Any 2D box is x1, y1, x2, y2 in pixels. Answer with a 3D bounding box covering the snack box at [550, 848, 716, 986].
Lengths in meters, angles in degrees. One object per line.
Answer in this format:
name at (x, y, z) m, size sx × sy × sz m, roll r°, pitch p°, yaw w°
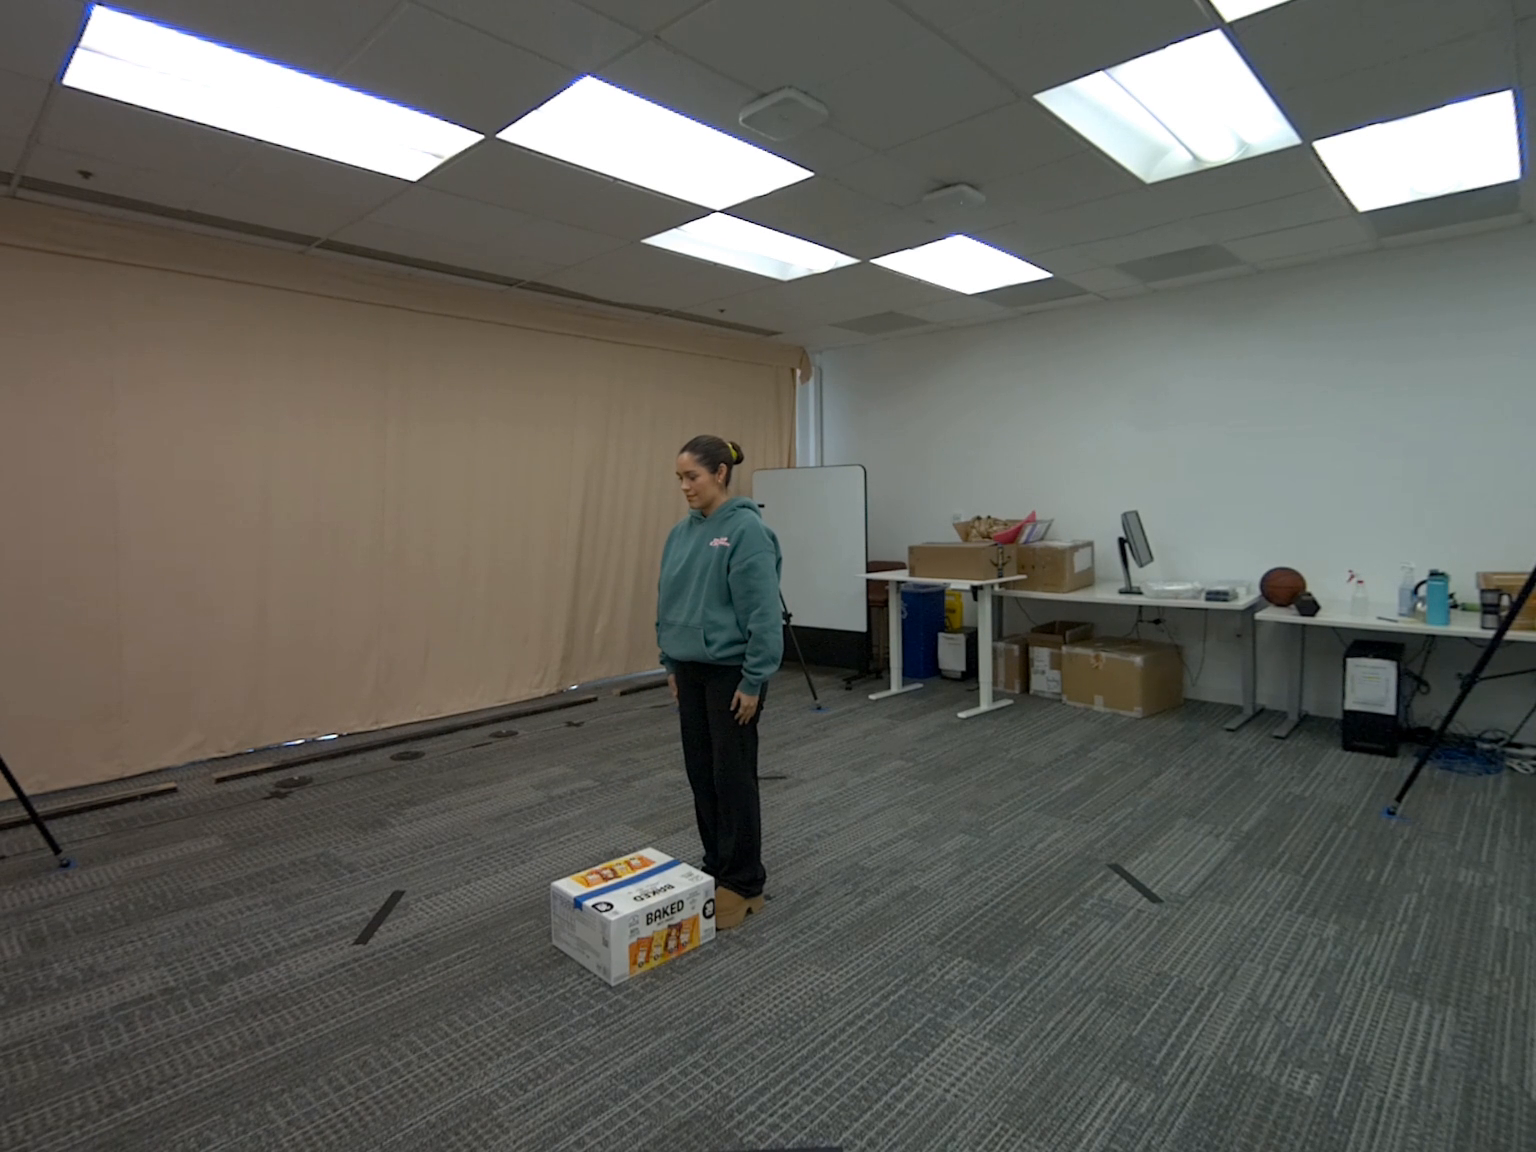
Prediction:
snack box at (-0.432, 1.075, 2.686) m, size 0.393 × 0.205 × 0.351 m, roll -5°, pitch 6°, yaw -43°
